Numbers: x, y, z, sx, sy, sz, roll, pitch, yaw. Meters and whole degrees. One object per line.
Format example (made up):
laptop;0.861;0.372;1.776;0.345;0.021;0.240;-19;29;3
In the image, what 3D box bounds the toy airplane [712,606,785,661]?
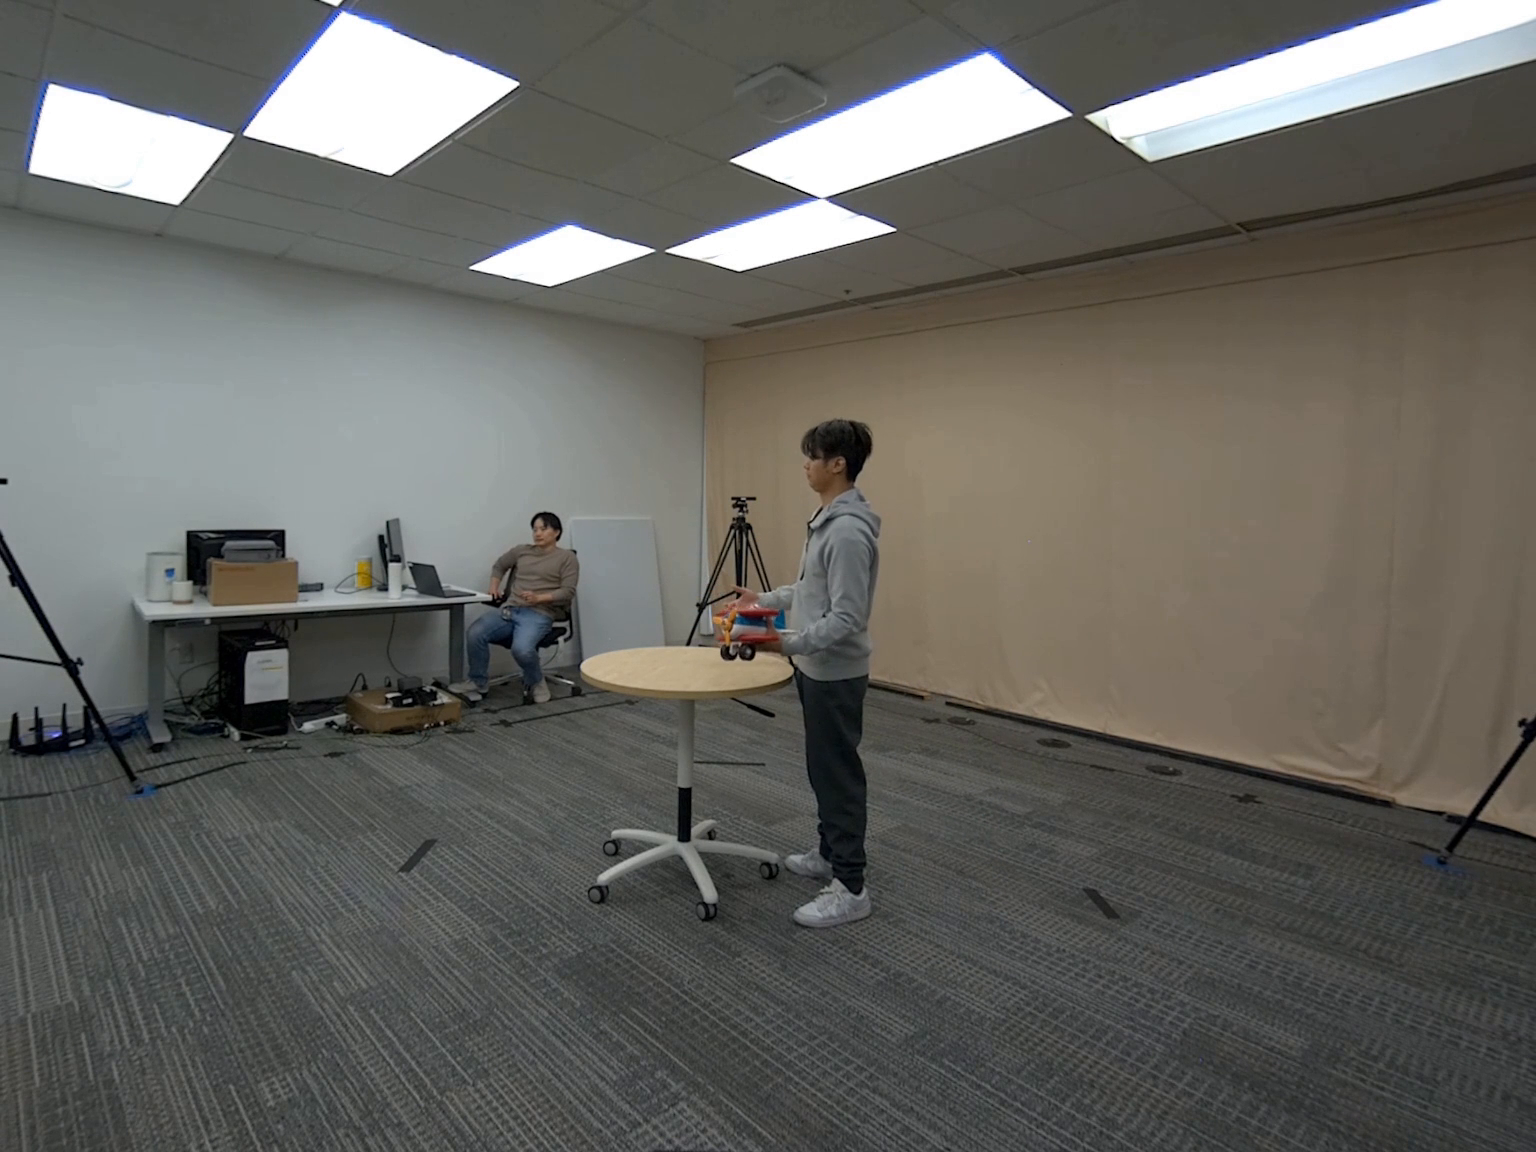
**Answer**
toy airplane;-0.065;0.160;2.662;0.254;0.156;0.256;-8;1;19
